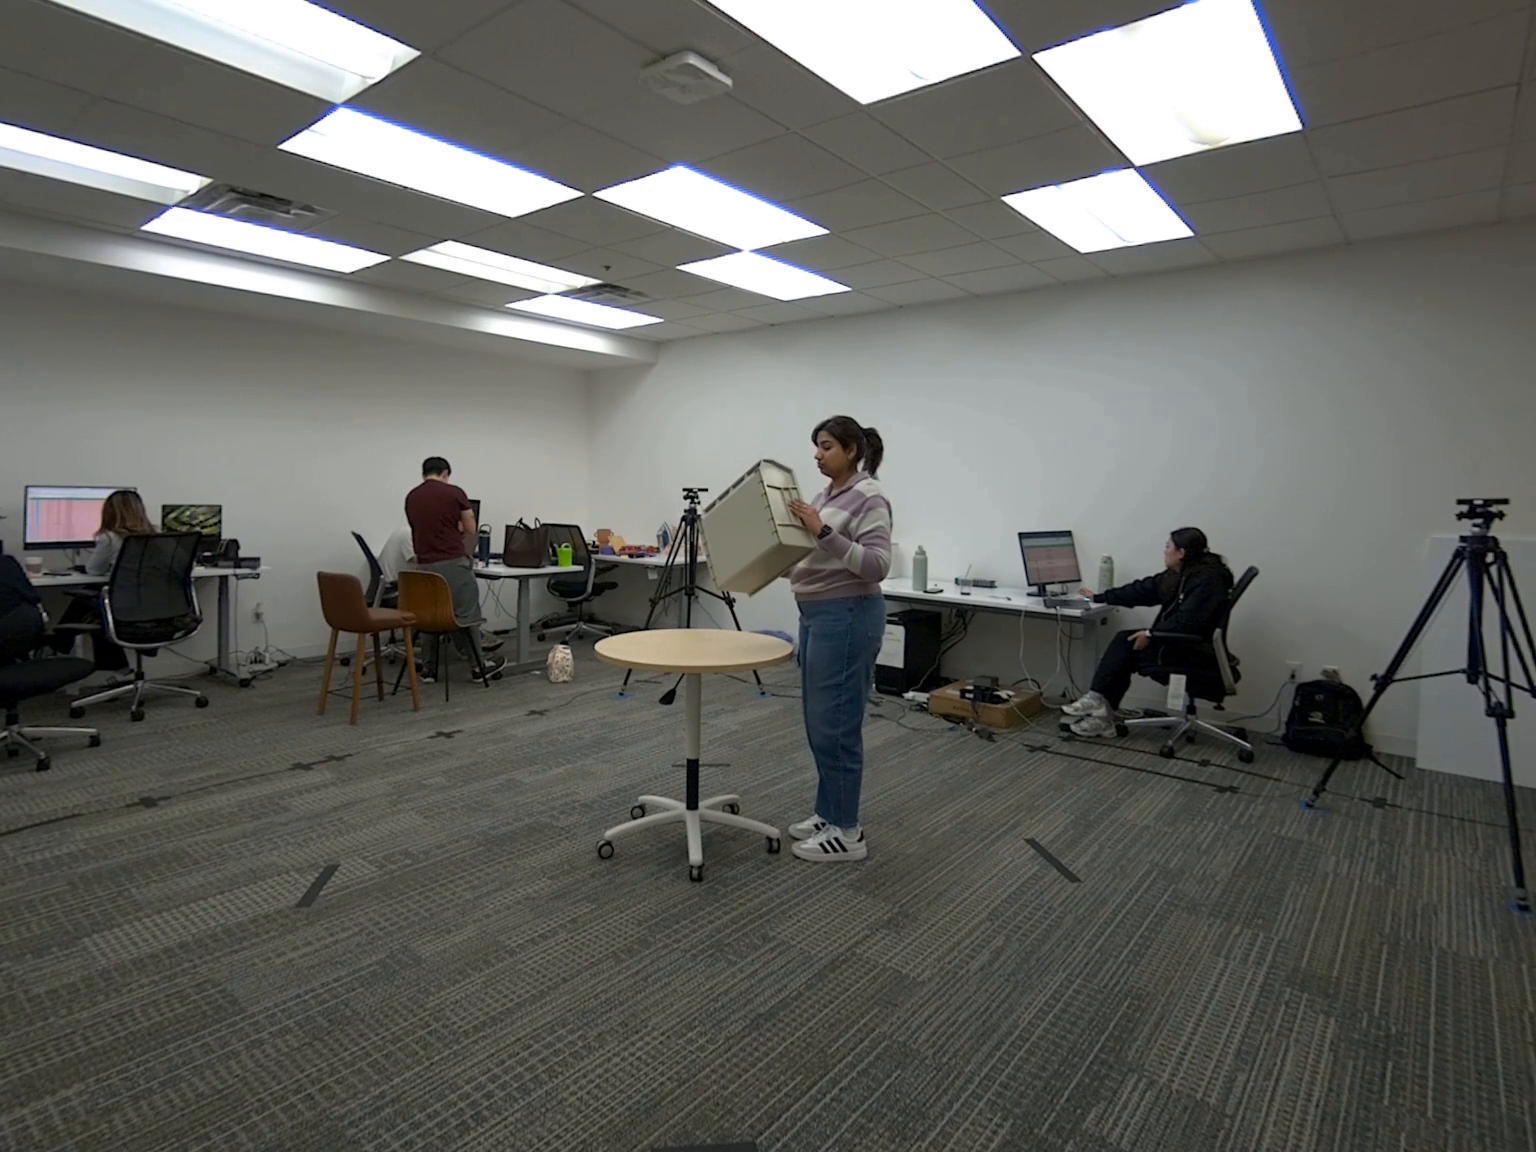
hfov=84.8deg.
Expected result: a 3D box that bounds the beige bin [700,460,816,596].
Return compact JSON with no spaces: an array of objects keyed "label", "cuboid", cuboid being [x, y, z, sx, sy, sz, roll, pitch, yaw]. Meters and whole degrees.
[{"label":"beige bin","cuboid":[-0.070,-0.183,3.254,0.182,0.388,0.425,7,-31,-40]}]
